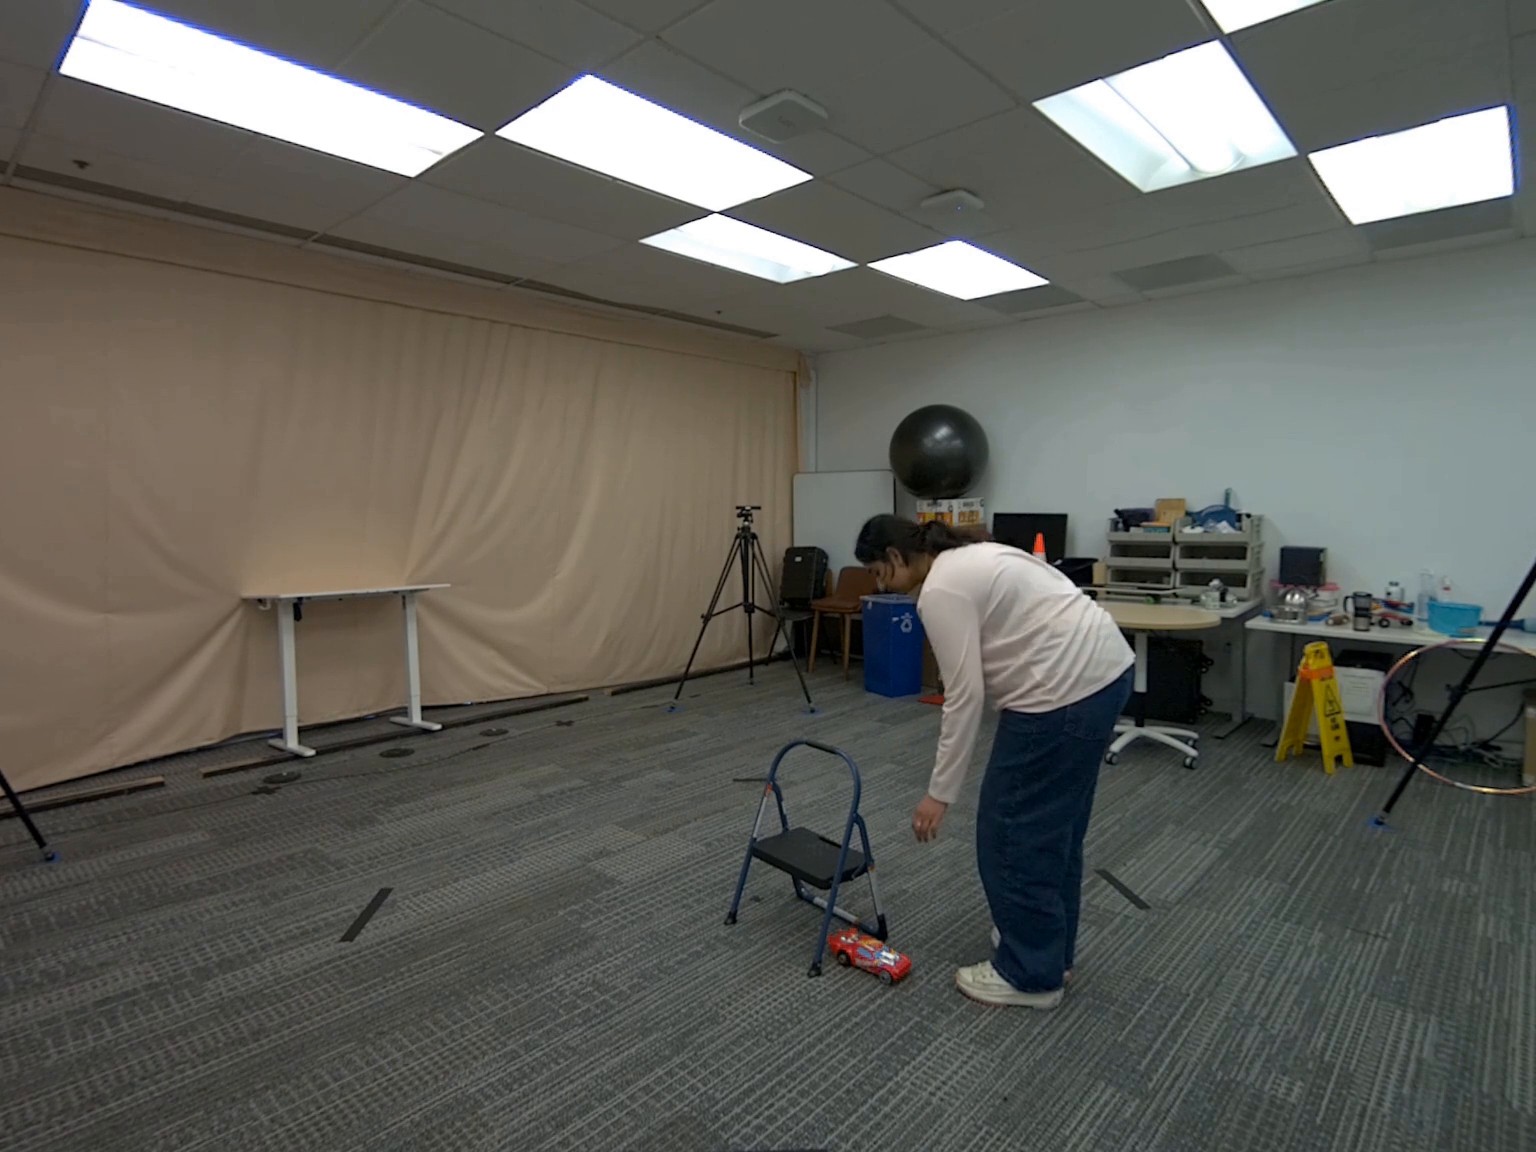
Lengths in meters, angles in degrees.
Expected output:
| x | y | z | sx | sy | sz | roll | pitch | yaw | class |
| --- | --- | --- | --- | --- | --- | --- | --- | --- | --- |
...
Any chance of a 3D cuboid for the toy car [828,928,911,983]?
| x | y | z | sx | sy | sz | roll | pitch | yaw | class |
| --- | --- | --- | --- | --- | --- | --- | --- | --- | --- |
| 0.310 | 1.147 | 2.547 | 0.264 | 0.083 | 0.126 | 17 | 14 | 39 | toy car |
